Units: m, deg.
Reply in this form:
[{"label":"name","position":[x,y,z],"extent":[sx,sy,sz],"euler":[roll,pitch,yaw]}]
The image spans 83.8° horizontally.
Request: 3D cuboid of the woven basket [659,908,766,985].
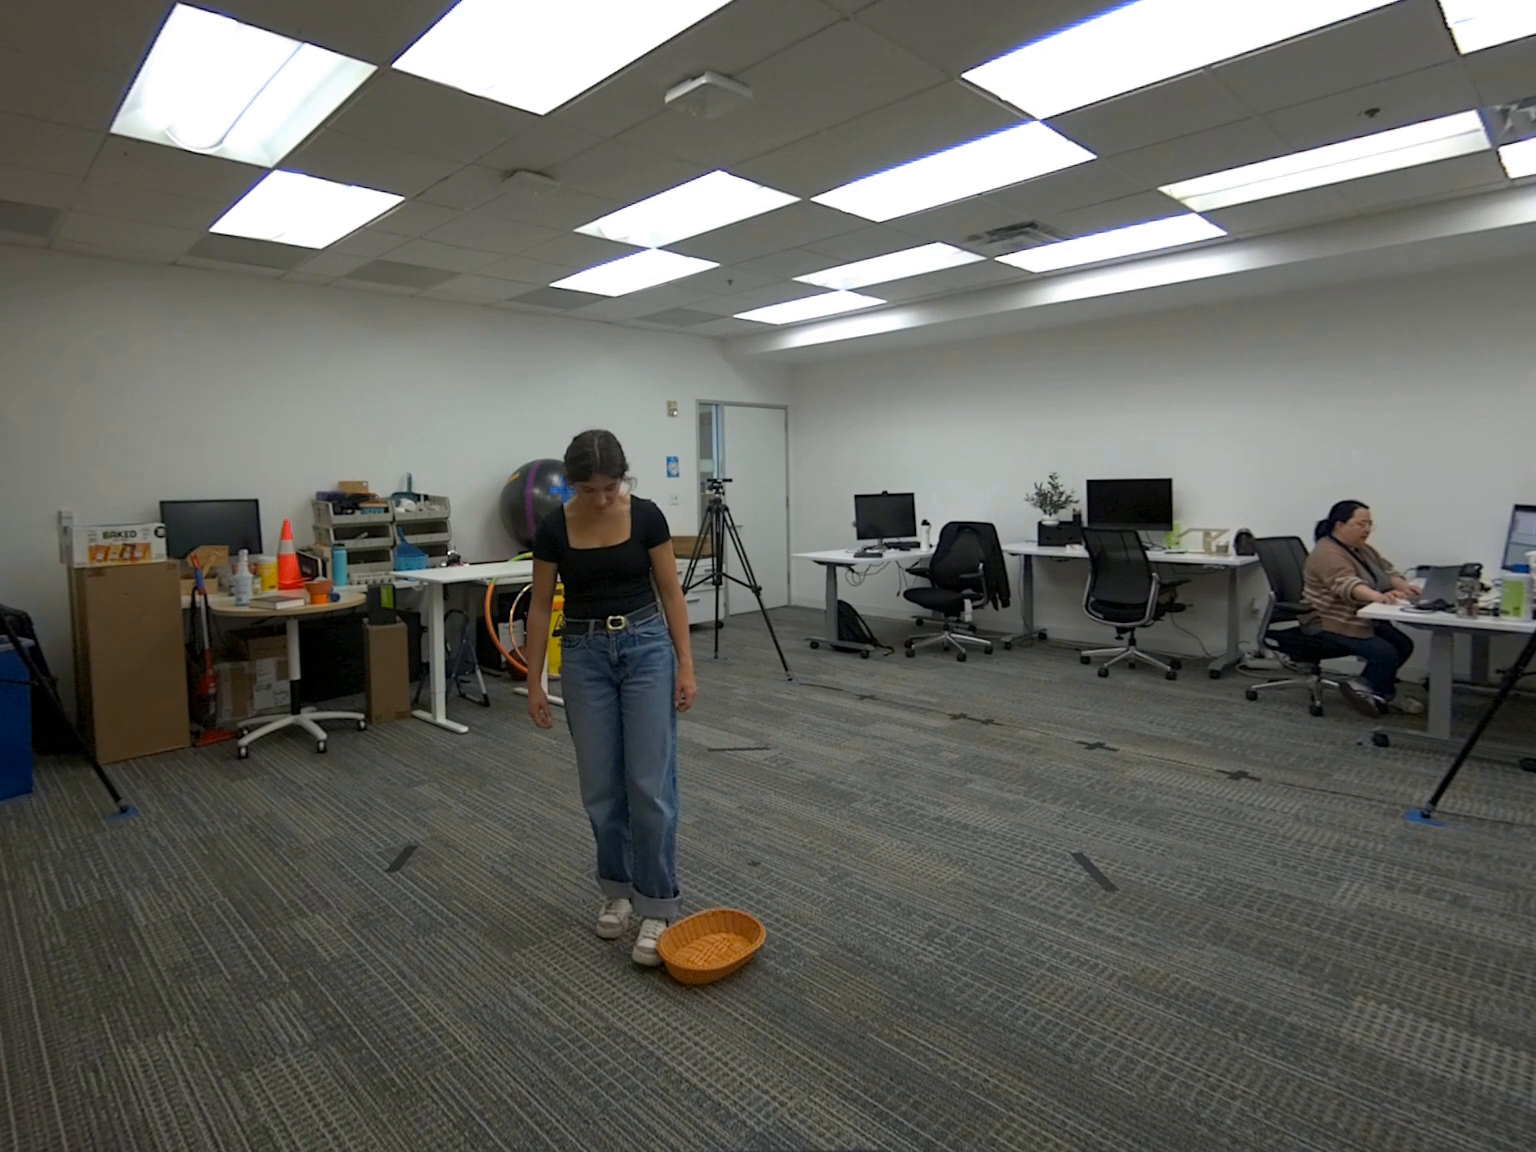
[{"label":"woven basket","position":[-0.160,1.074,2.490],"extent":[0.341,0.073,0.261],"euler":[-4,9,-42]}]
